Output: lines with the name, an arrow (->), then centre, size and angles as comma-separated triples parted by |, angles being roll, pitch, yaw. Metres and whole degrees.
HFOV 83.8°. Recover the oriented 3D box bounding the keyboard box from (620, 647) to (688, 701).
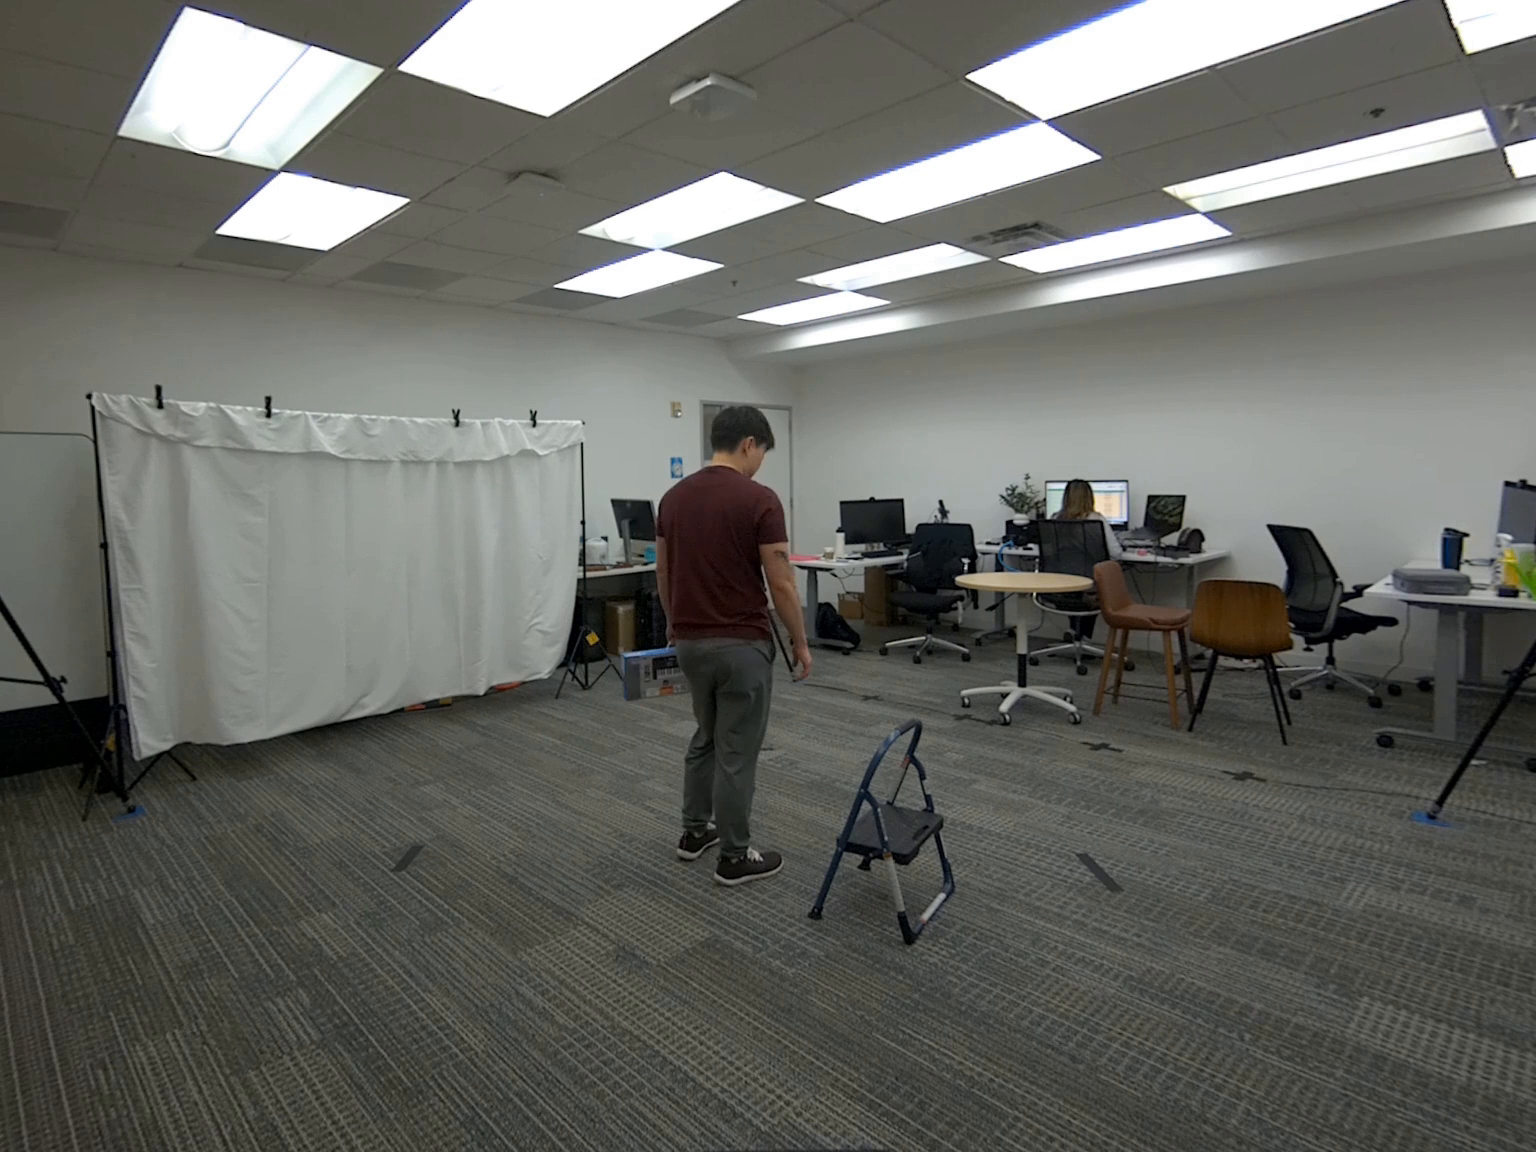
keyboard box -> -0.337, 0.365, 3.277 | 0.430, 0.174, 0.060 | -5, 9, -19
